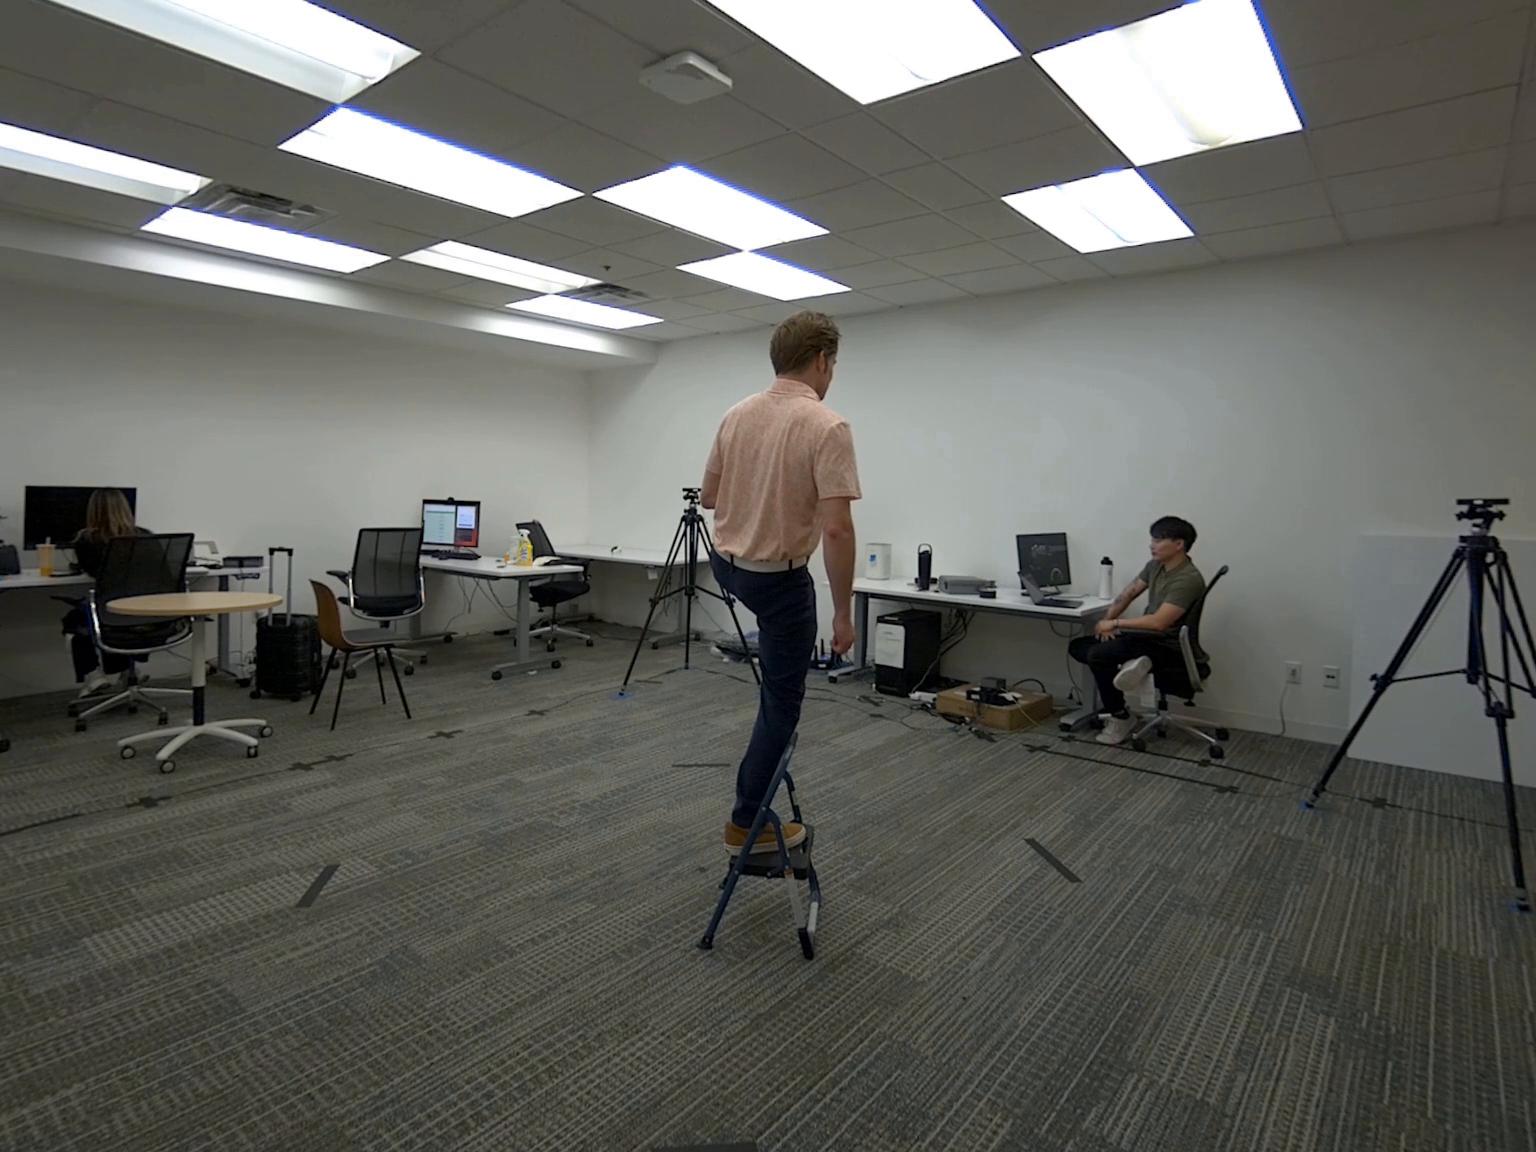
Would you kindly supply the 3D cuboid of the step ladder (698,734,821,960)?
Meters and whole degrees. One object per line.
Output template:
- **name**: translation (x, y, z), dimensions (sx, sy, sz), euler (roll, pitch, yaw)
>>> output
- **step ladder**: translation (-0.013, 0.812, 2.731), dimensions (0.353, 0.604, 0.428), euler (2, 4, 7)
